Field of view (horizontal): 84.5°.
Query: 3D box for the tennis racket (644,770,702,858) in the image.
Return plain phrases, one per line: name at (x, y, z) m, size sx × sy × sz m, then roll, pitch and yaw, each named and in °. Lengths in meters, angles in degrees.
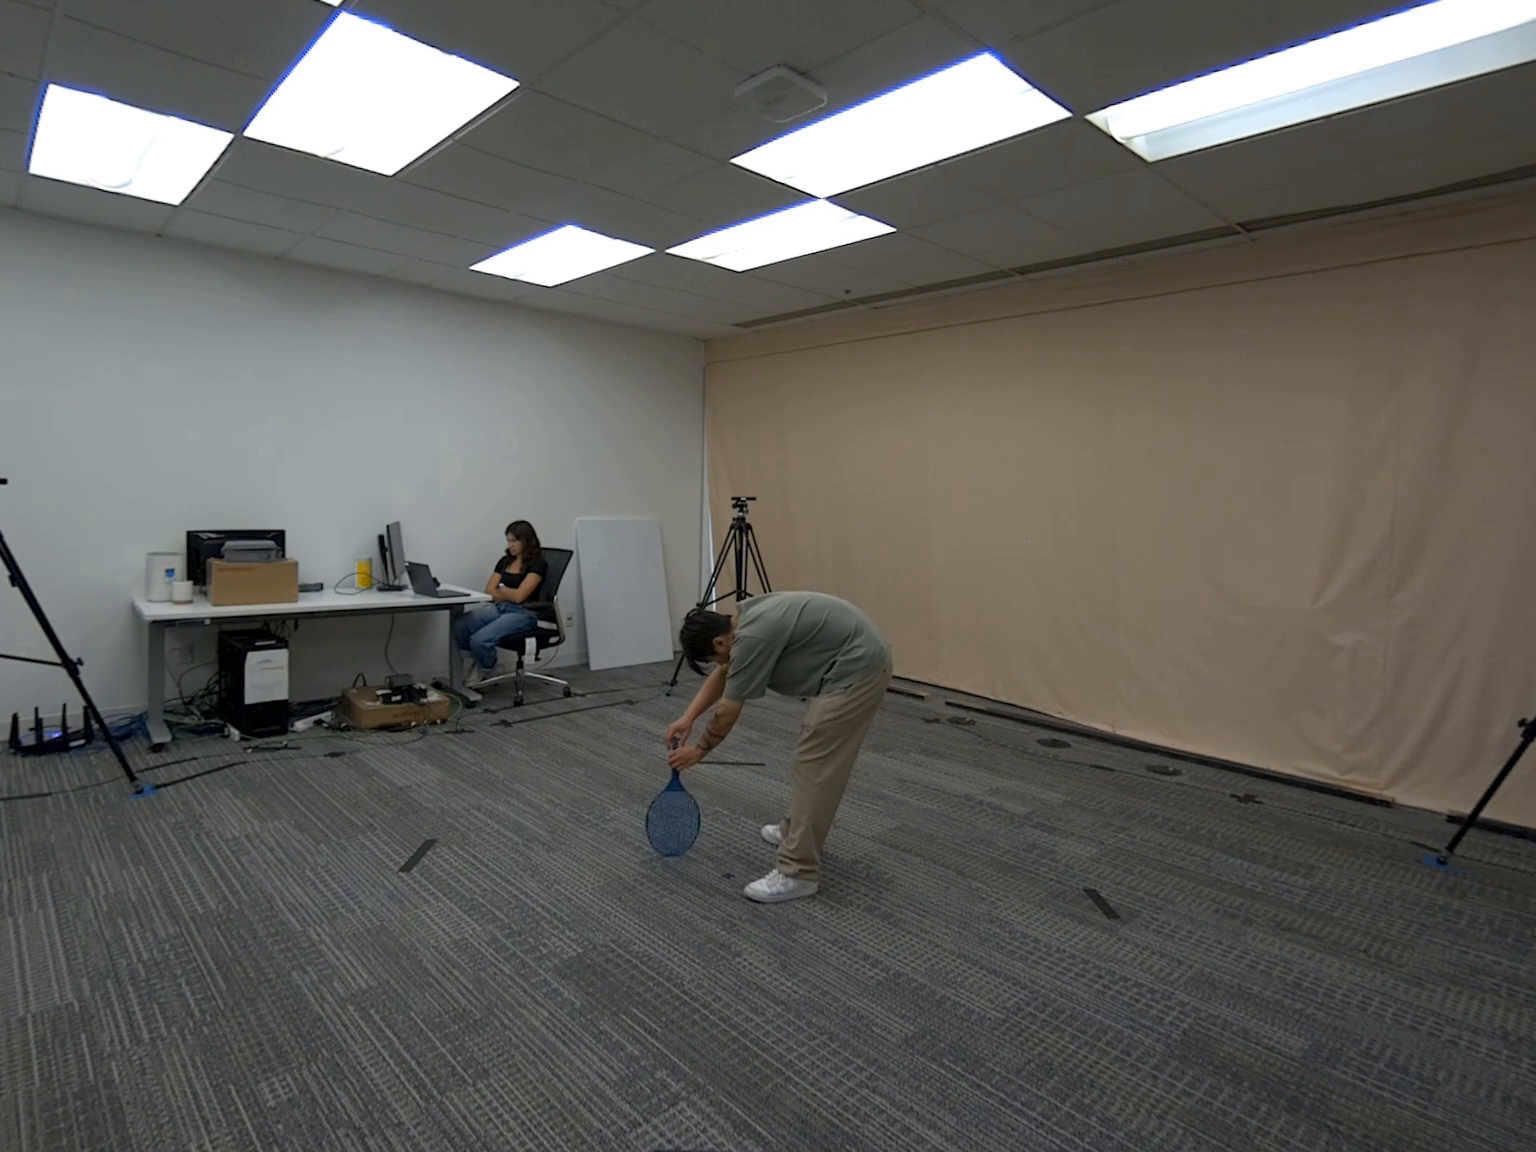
tennis racket at (-0.370, 0.872, 3.257) m, size 0.213 × 0.432 × 0.032 m, roll 4°, pitch 1°, yaw -6°
